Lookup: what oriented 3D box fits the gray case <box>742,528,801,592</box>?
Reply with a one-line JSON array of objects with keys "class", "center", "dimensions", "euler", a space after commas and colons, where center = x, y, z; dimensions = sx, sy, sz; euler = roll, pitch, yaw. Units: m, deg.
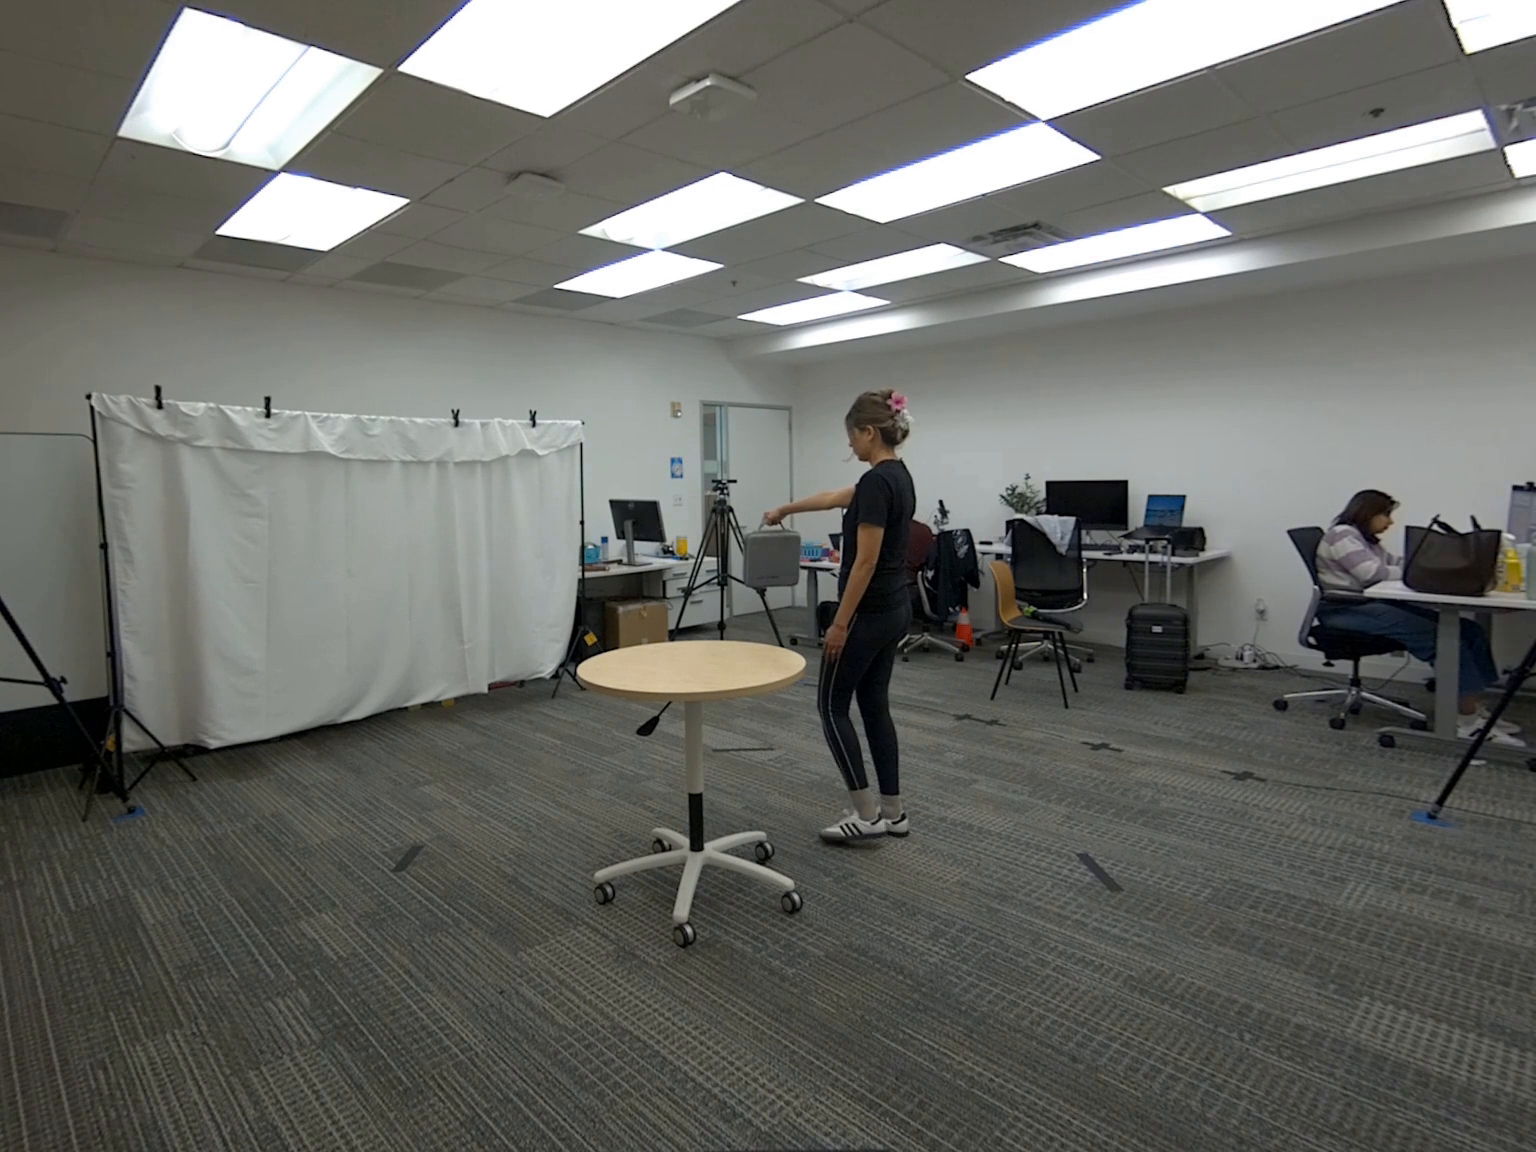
[{"class": "gray case", "center": [0.014, -0.081, 3.827], "dimensions": [0.254, 0.257, 0.107], "euler": [-1, 14, -13]}]
